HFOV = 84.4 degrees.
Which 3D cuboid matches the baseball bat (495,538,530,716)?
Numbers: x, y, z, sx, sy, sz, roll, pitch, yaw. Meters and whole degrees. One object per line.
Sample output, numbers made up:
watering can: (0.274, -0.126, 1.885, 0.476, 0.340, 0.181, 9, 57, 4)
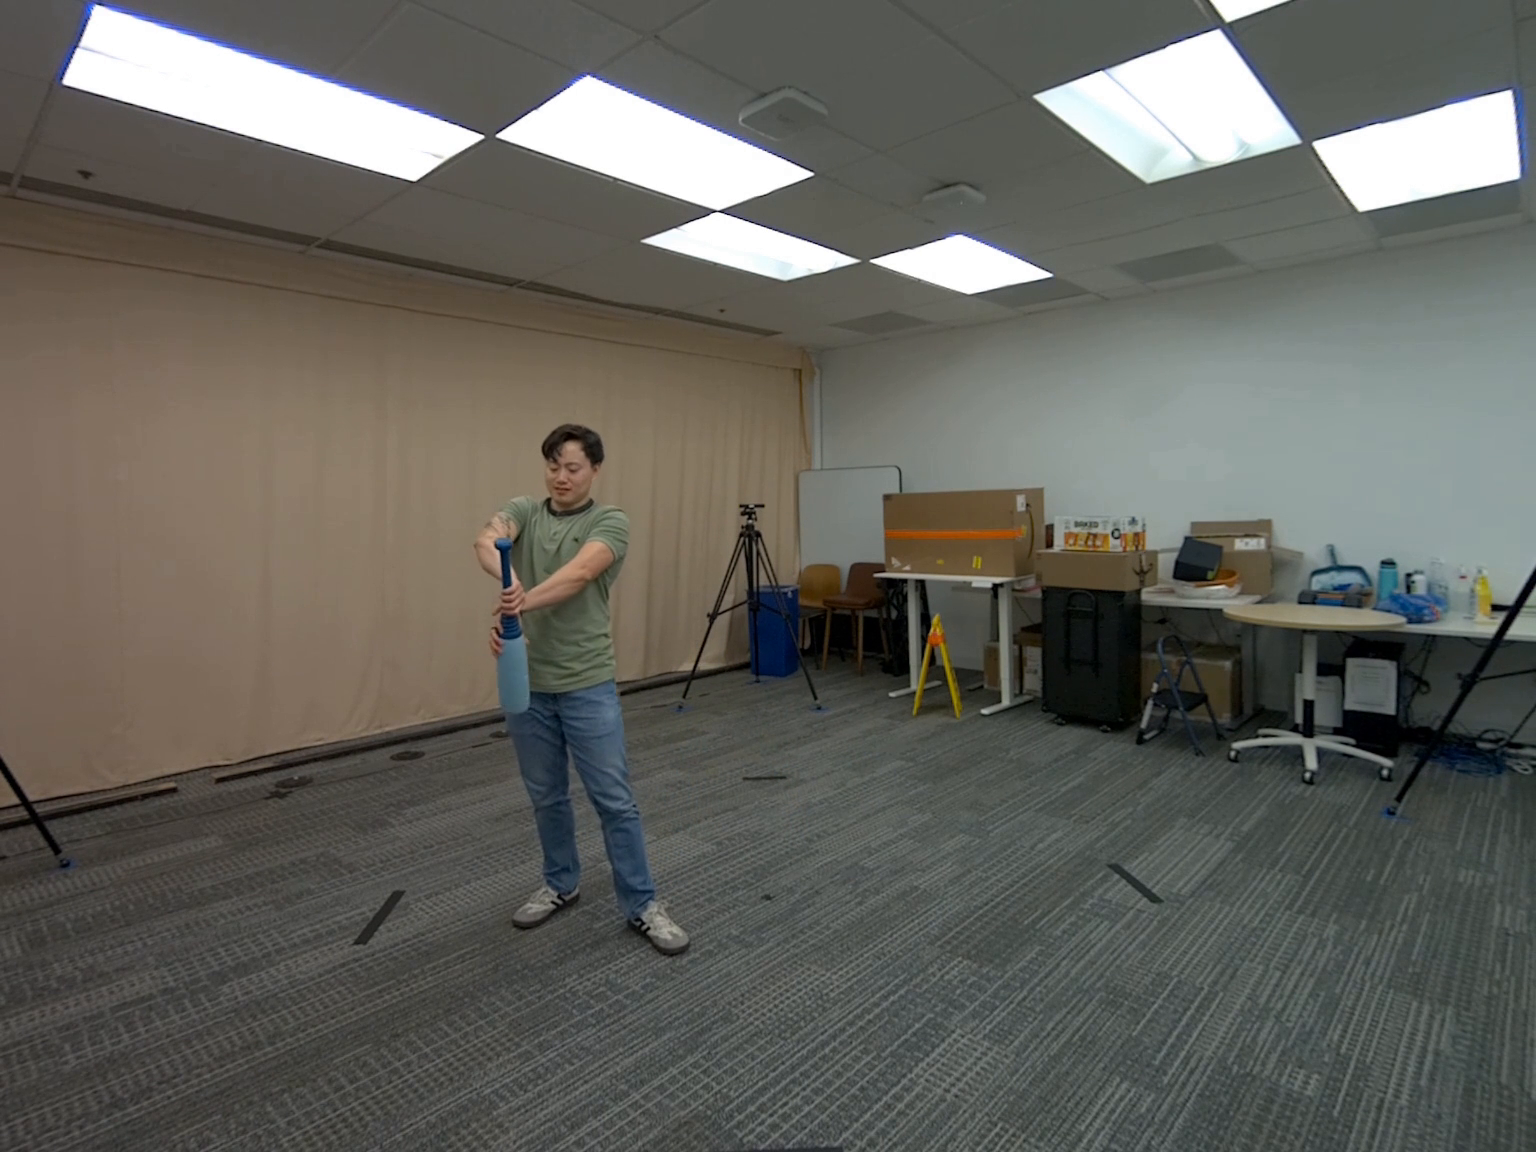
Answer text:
baseball bat: (-0.724, 0.145, 2.389, 0.089, 0.537, 0.090, 5, 23, -4)
